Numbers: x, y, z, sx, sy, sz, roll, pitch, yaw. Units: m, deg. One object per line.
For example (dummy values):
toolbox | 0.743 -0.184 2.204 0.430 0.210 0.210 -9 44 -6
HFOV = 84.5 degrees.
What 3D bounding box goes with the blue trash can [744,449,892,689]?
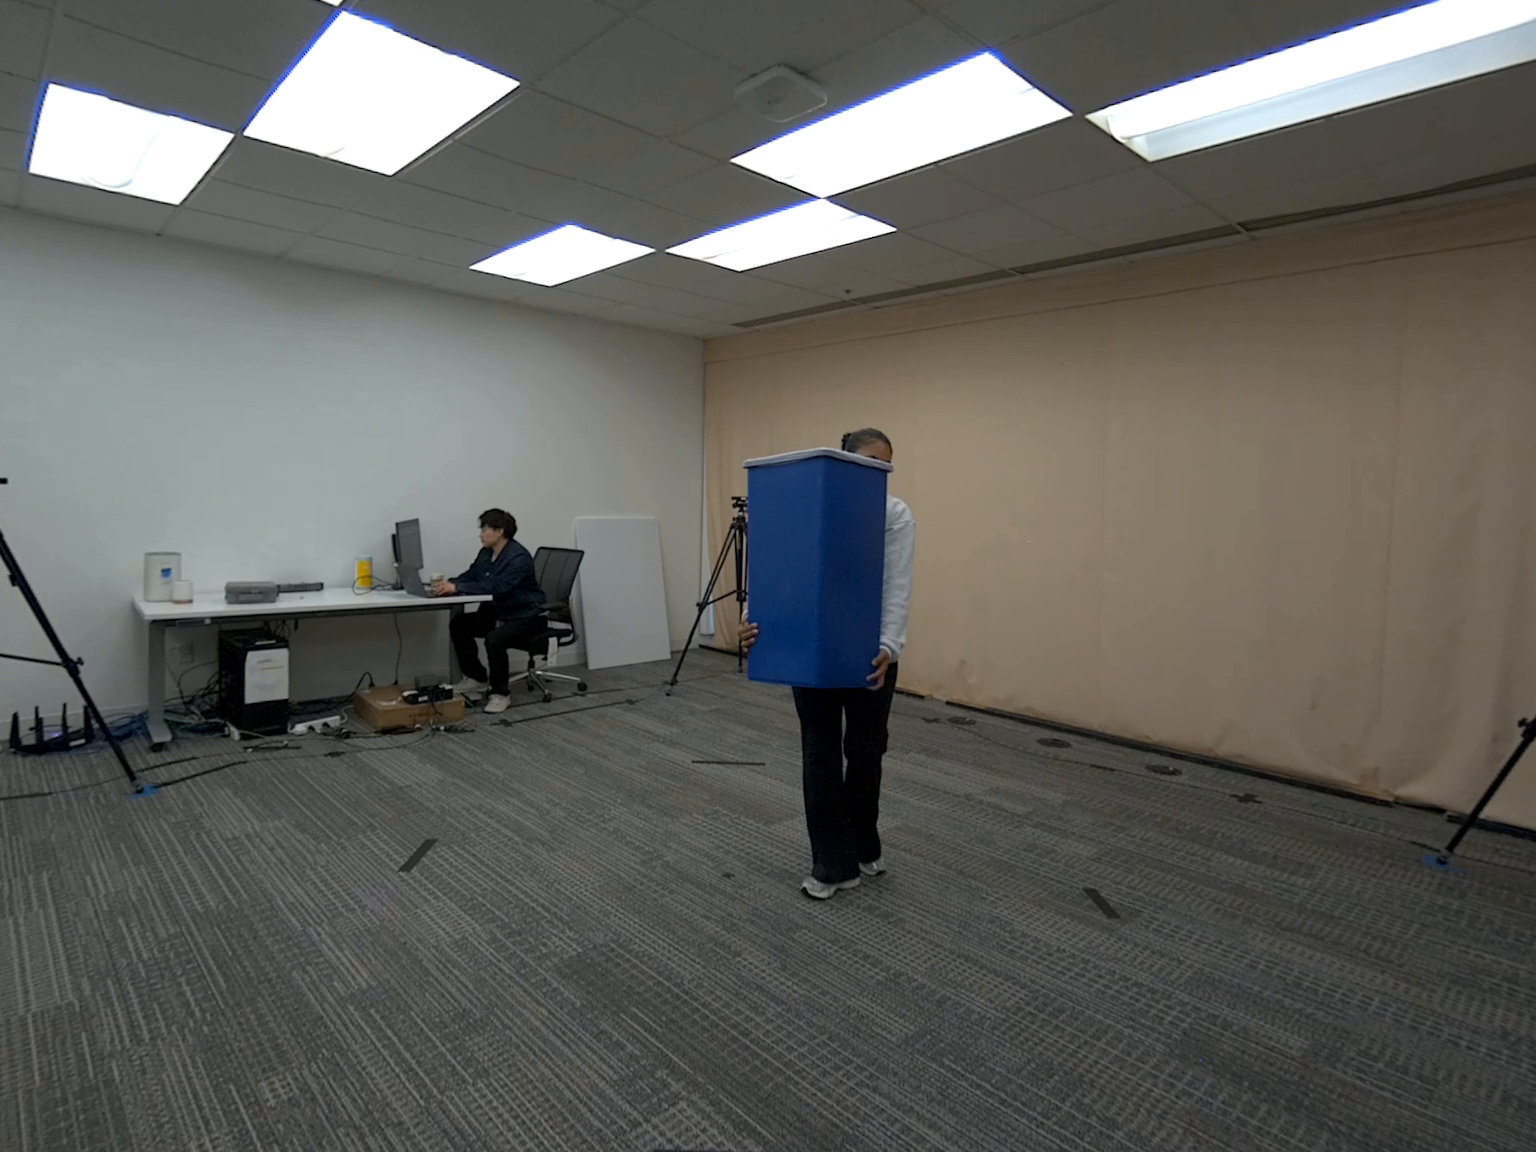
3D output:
blue trash can | 0.137 -0.013 2.712 0.368 0.716 0.382 8 -8 -44
